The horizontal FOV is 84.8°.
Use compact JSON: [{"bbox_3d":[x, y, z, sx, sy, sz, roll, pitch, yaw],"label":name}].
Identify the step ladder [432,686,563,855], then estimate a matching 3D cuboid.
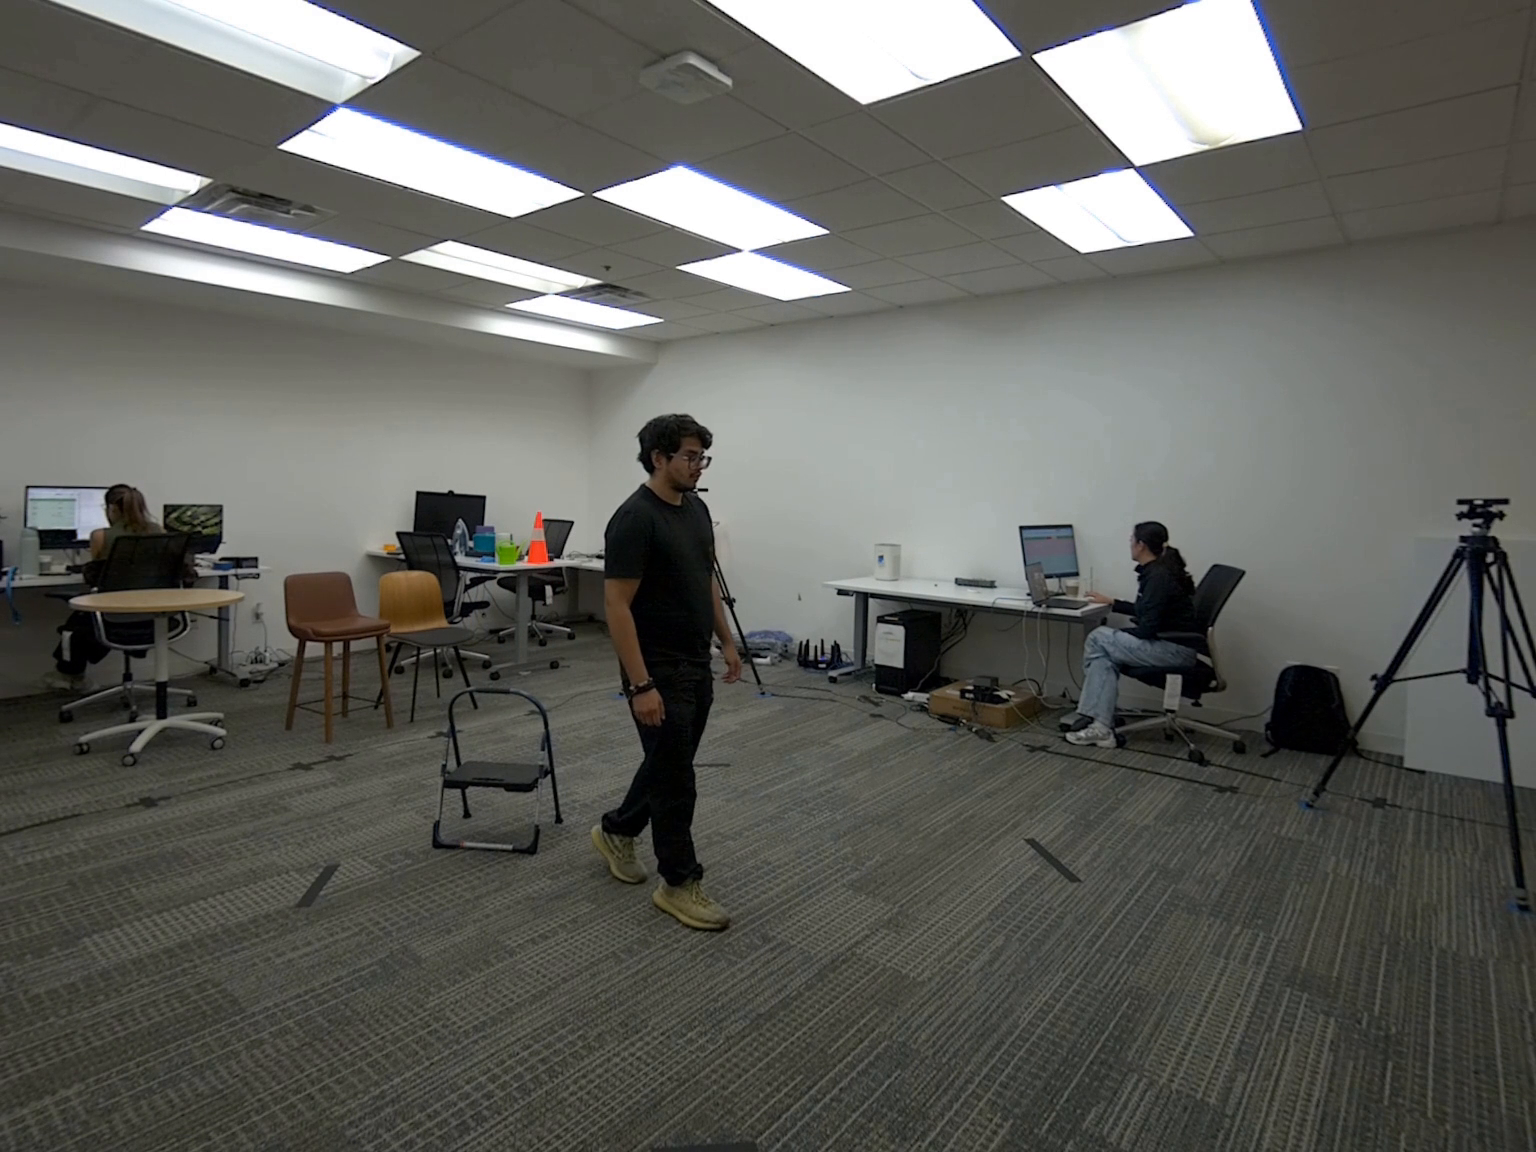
[{"bbox_3d":[-1.083,0.727,3.382,0.433,0.604,0.348,1,3,4],"label":"step ladder"}]
